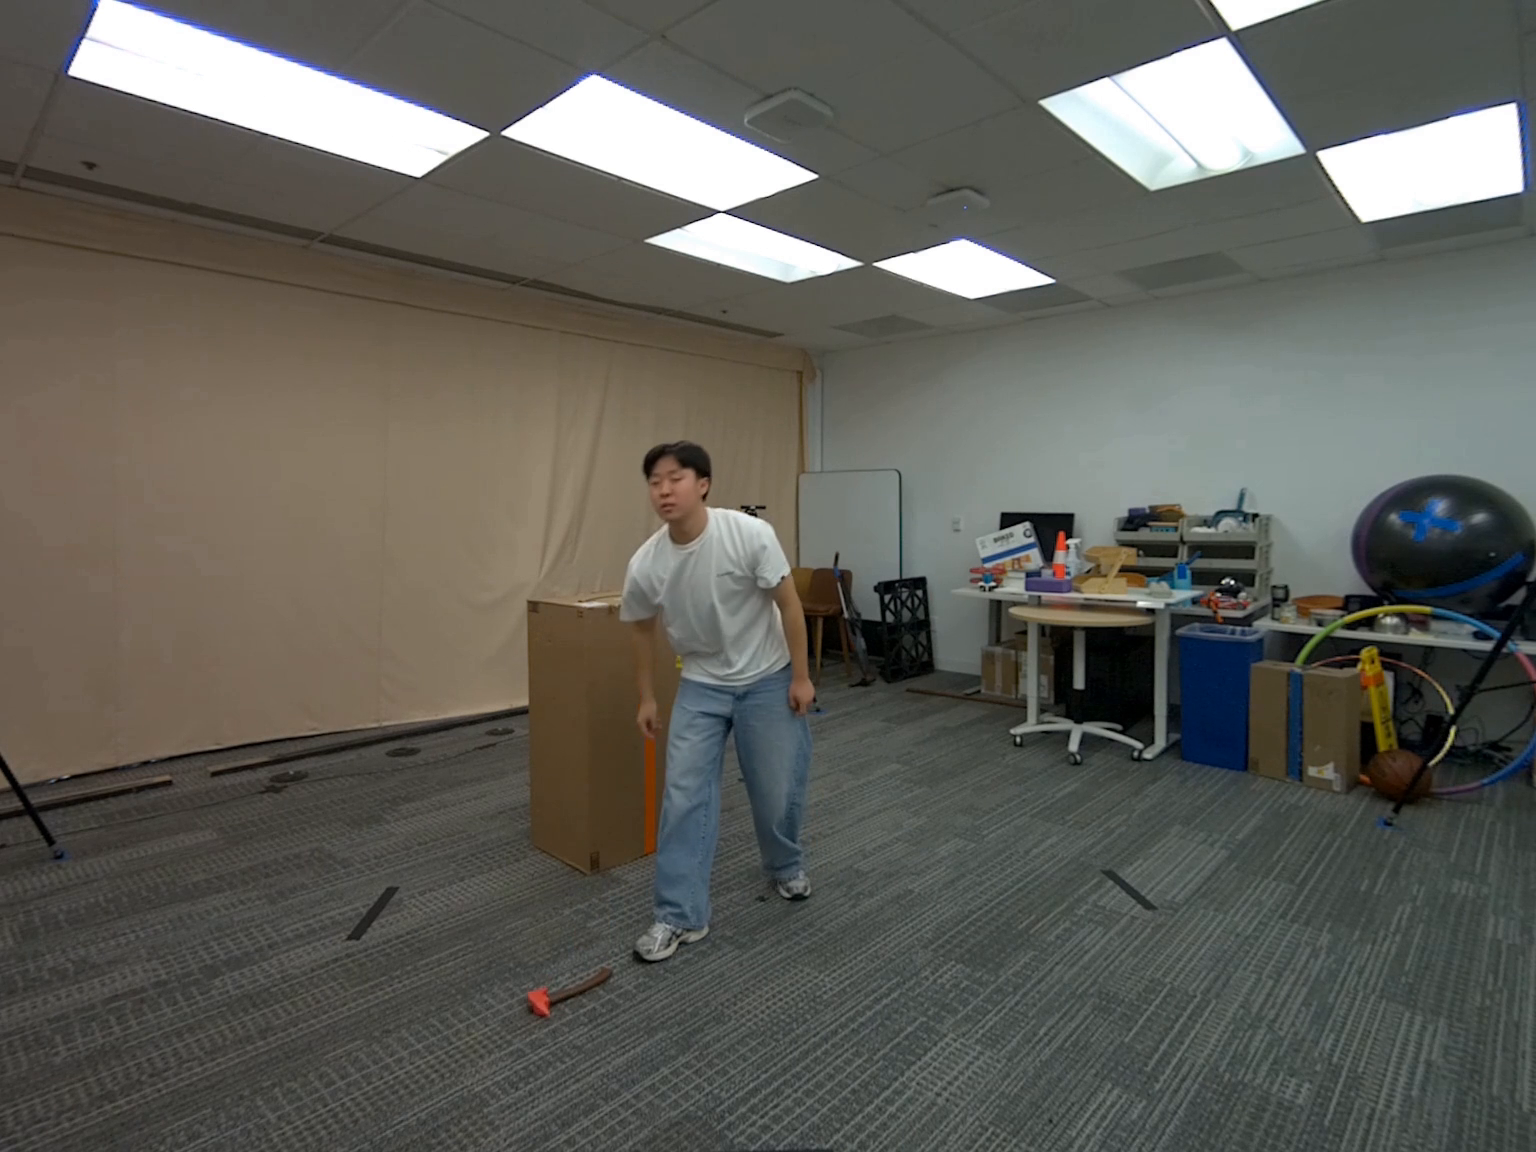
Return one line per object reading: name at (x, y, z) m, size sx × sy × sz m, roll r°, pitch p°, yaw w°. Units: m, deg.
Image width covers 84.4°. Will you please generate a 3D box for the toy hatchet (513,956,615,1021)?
toy hatchet at (-0.581, 1.172, 2.422) m, size 0.135 × 0.029 × 0.262 m, roll 1°, pitch 2°, yaw 34°
